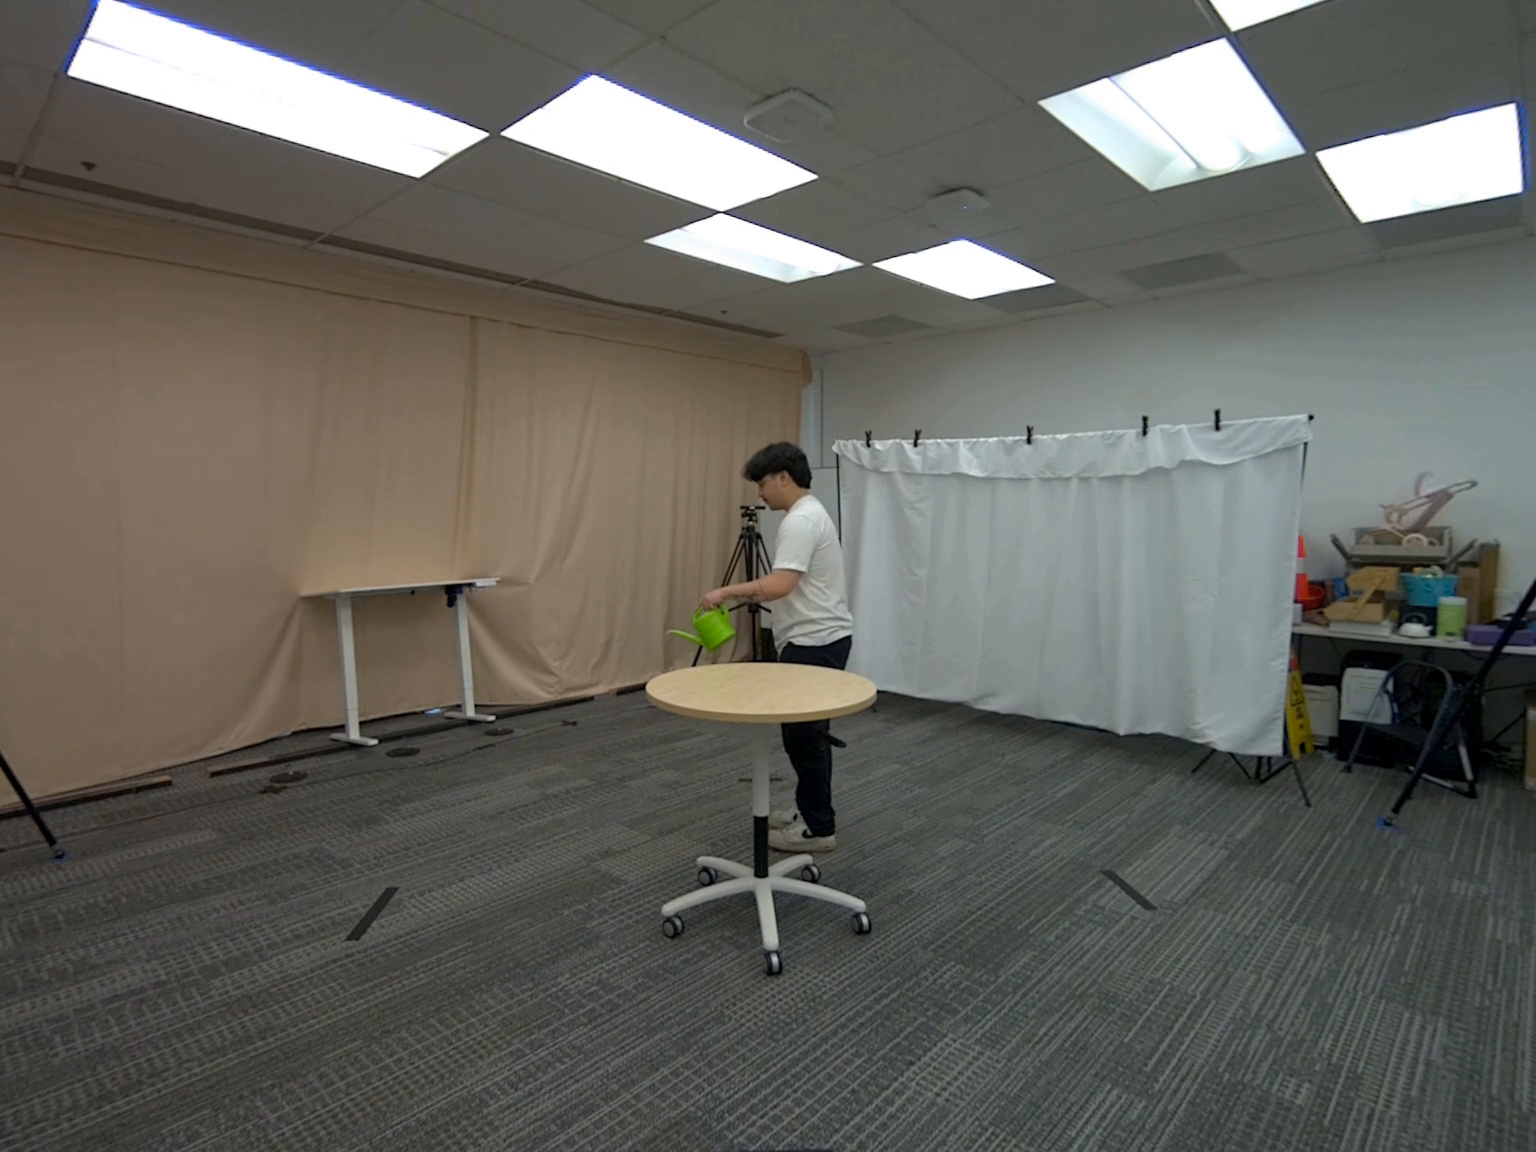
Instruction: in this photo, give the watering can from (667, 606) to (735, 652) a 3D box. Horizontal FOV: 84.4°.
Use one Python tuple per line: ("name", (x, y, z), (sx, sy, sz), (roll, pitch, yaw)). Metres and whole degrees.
("watering can", (-0.254, 0.226, 3.439), (0.281, 0.179, 0.096), (-37, -12, 25))
